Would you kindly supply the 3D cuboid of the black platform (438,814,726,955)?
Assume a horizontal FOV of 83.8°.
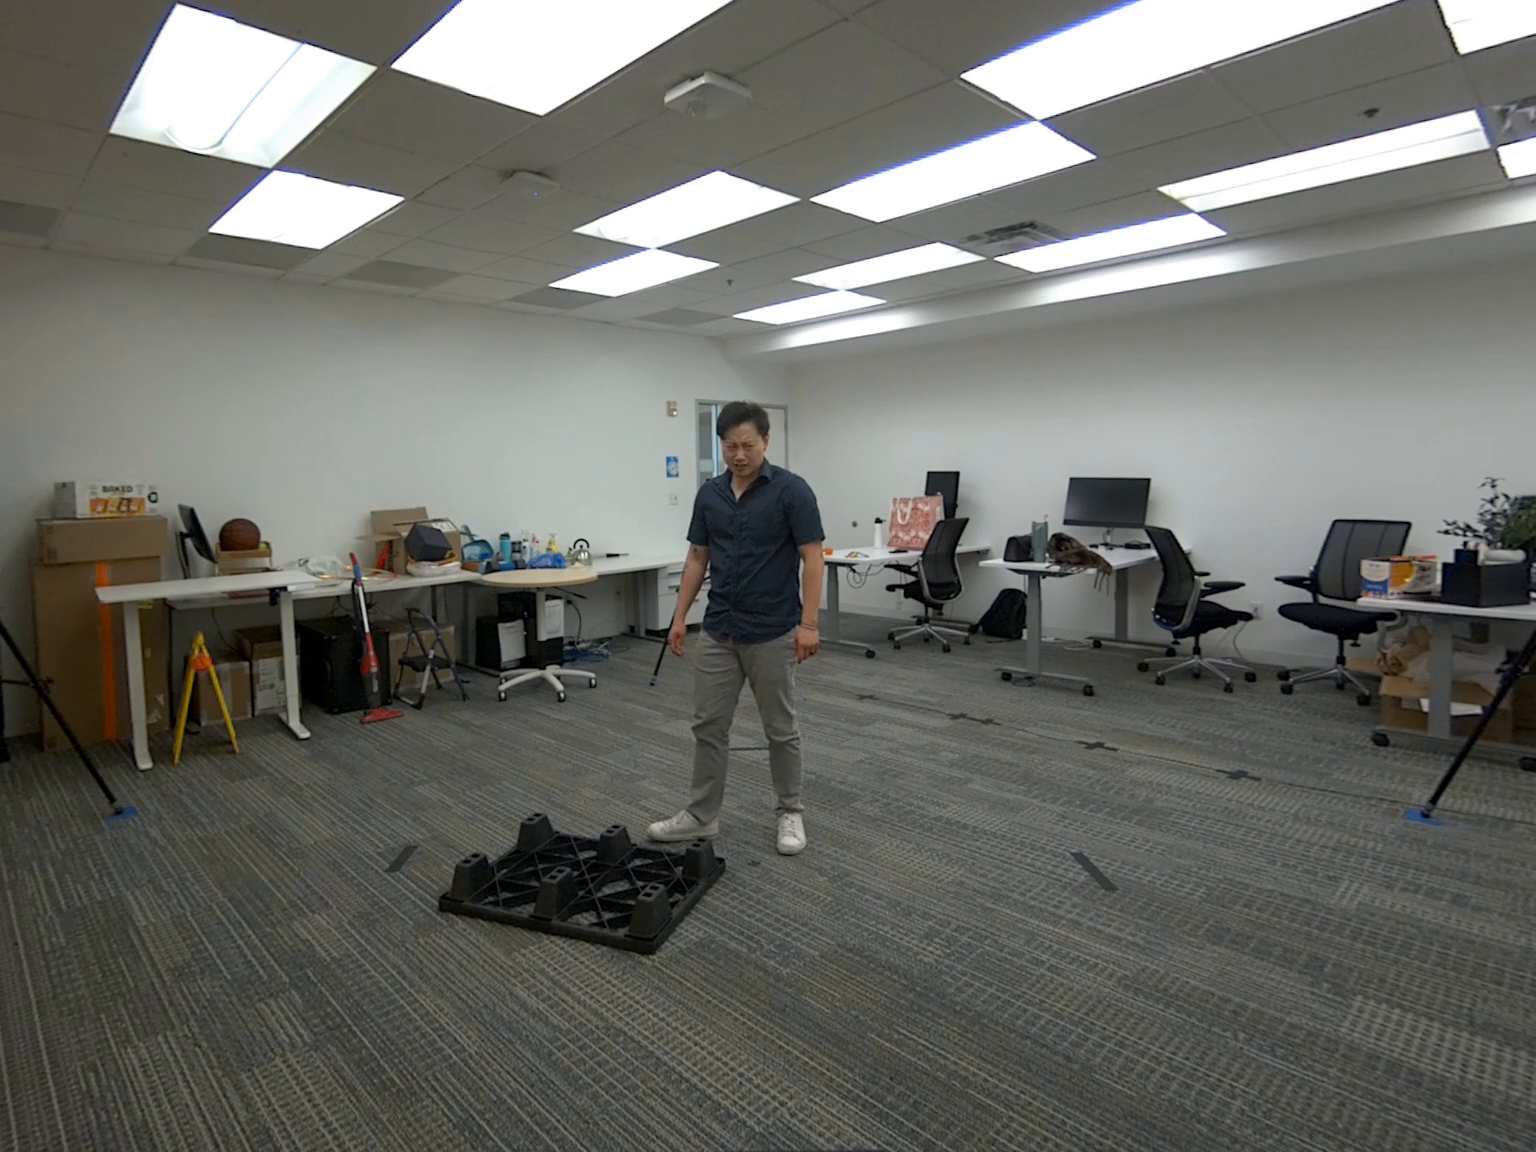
[{"bbox_3d":[-0.621,1.011,2.930,0.822,0.143,0.596,1,7,21],"label":"black platform"}]
